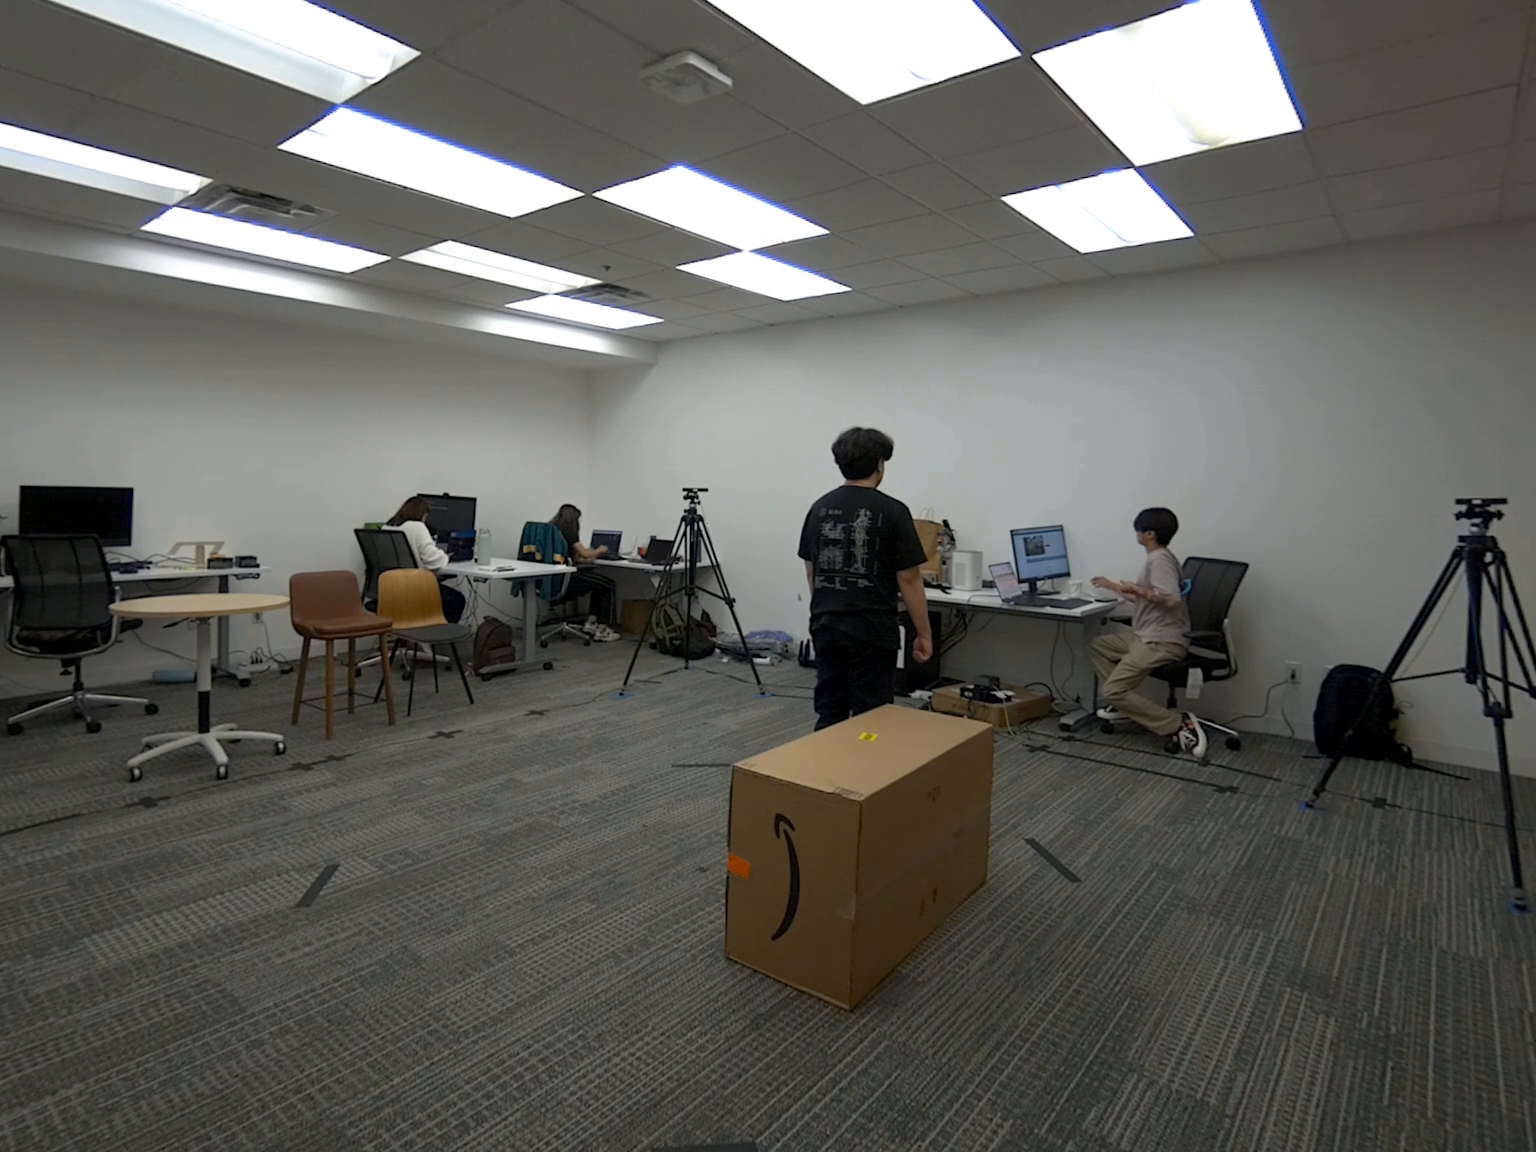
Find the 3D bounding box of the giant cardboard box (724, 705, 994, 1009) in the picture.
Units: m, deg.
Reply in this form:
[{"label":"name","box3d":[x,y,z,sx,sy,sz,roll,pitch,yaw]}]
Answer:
[{"label":"giant cardboard box","box3d":[0.333,0.827,2.782,0.461,0.582,0.998,3,5,35]}]
